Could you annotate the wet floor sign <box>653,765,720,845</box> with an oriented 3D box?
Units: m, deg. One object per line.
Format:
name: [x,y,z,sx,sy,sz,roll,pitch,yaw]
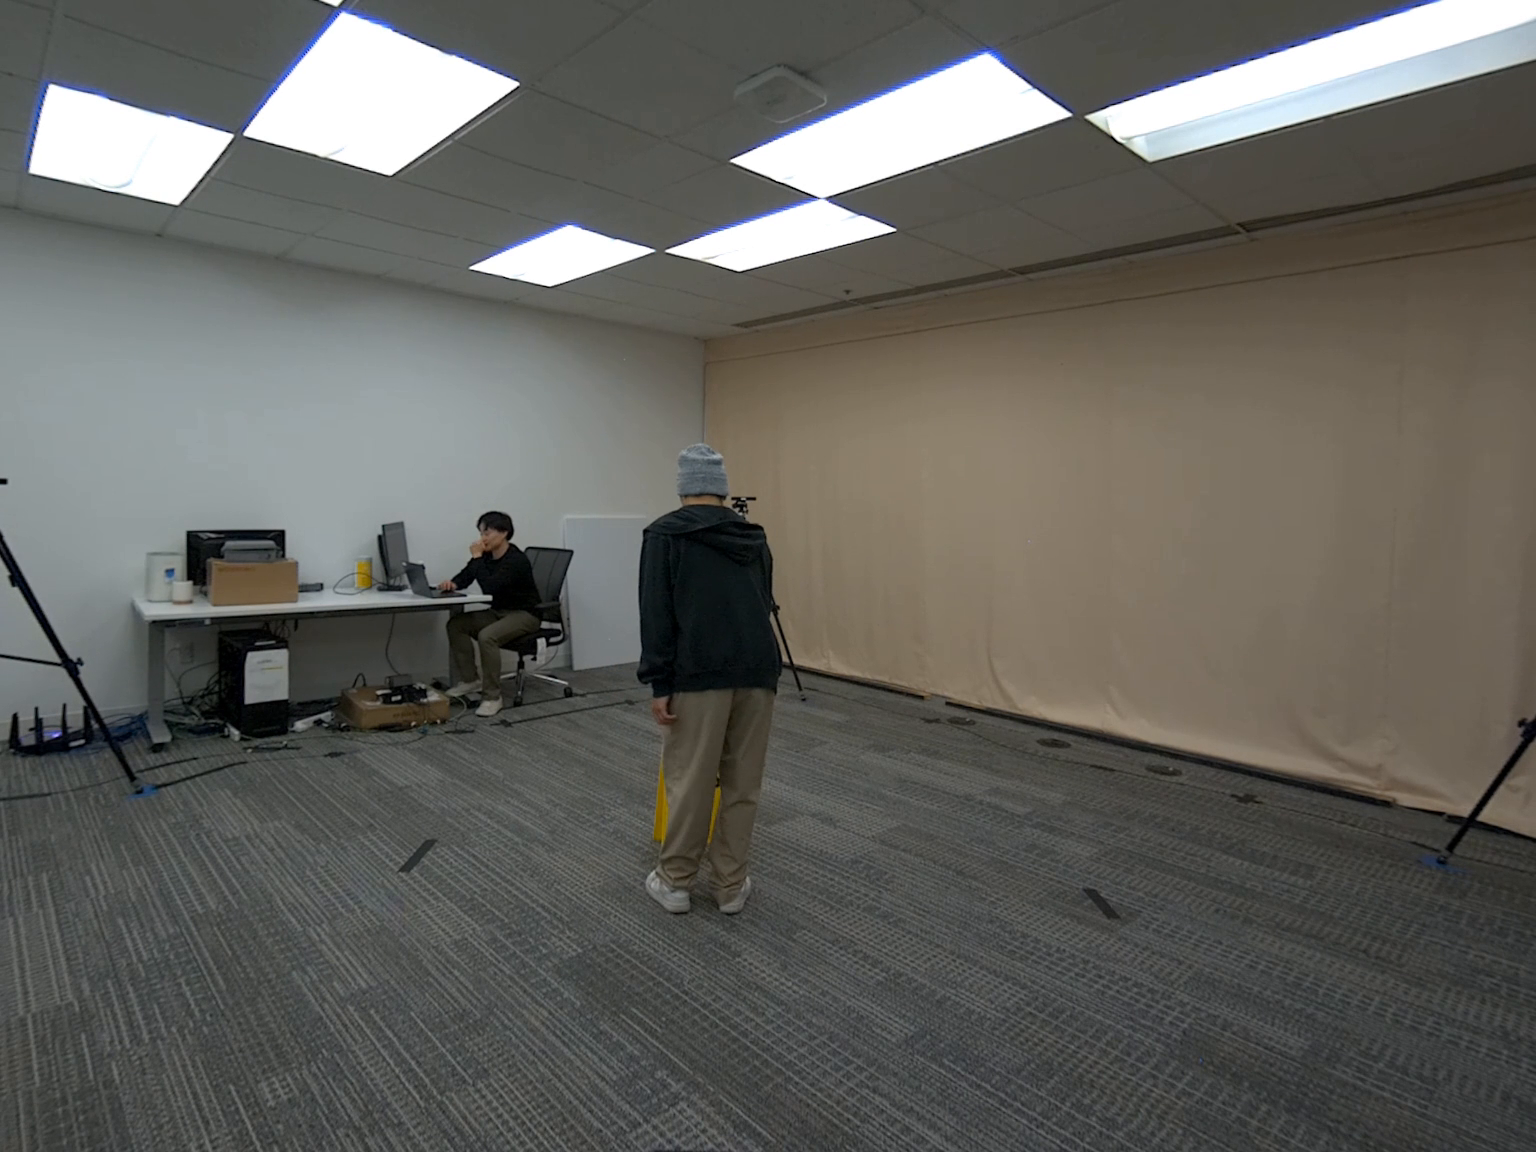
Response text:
wet floor sign: [-0.299,0.761,3.306,0.279,0.645,0.293,2,2,-12]
